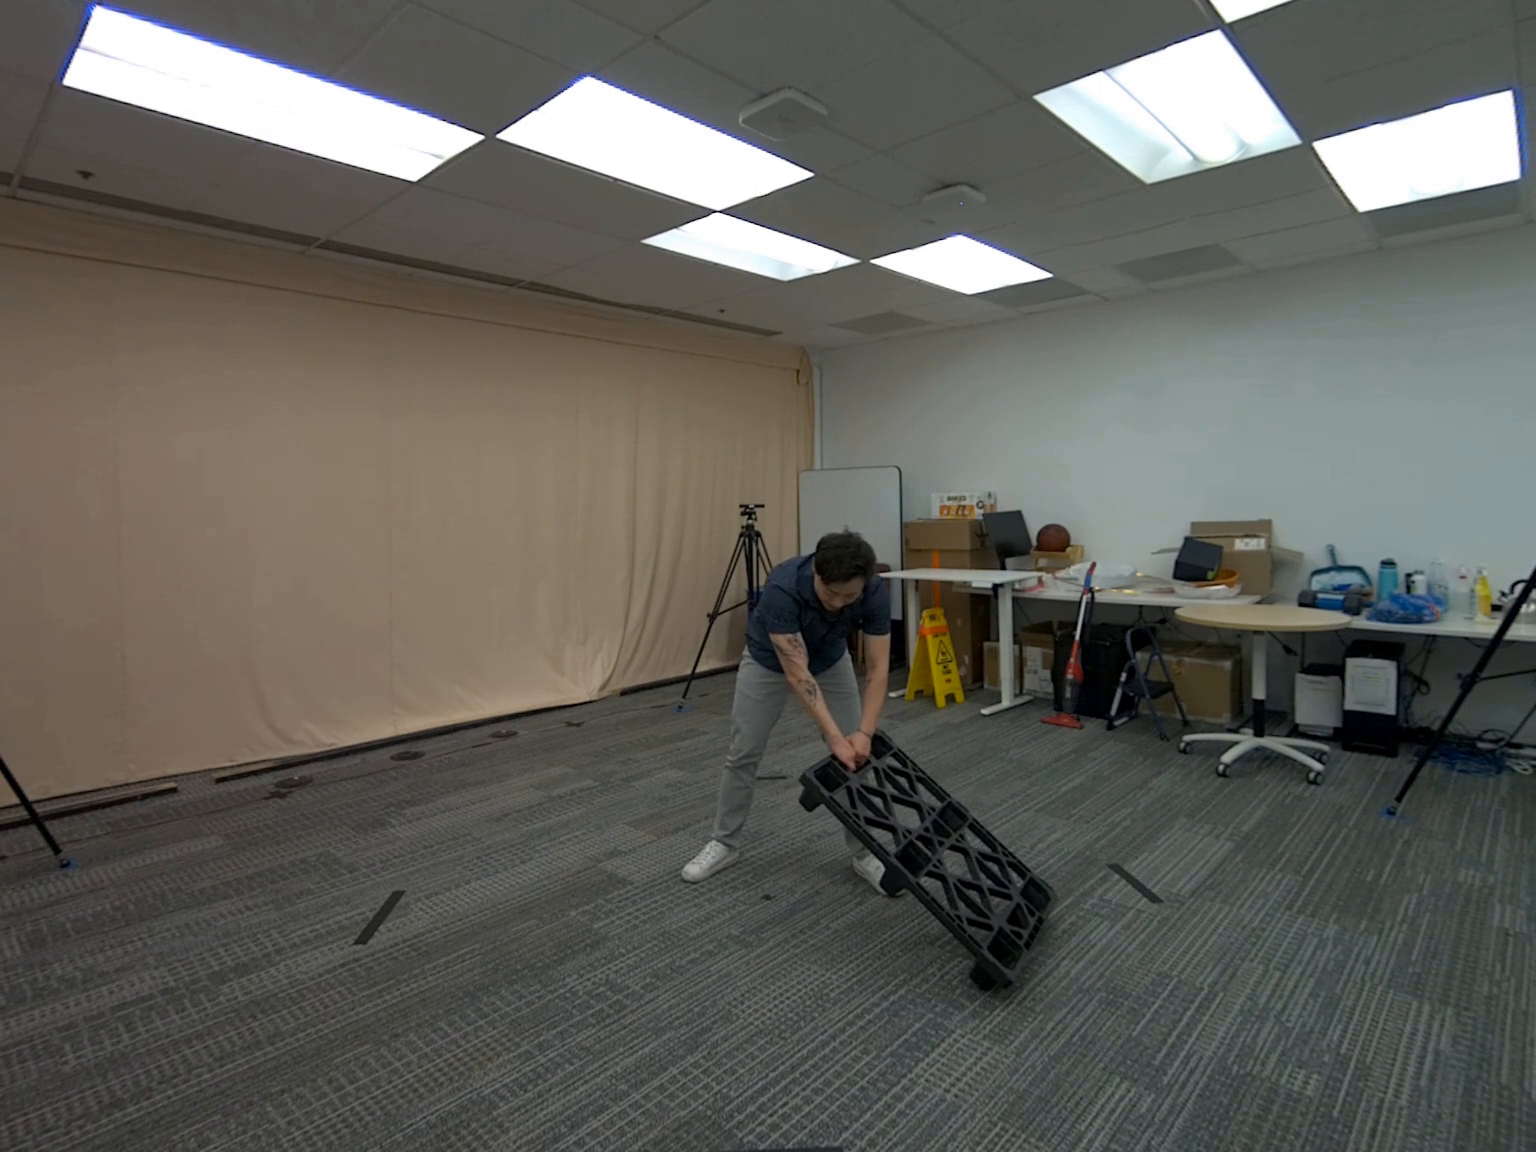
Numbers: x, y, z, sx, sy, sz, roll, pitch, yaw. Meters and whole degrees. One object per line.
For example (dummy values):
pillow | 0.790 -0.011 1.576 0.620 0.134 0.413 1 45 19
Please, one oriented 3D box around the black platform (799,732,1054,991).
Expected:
black platform | 0.504 0.878 2.718 0.826 0.143 0.589 42 23 22
